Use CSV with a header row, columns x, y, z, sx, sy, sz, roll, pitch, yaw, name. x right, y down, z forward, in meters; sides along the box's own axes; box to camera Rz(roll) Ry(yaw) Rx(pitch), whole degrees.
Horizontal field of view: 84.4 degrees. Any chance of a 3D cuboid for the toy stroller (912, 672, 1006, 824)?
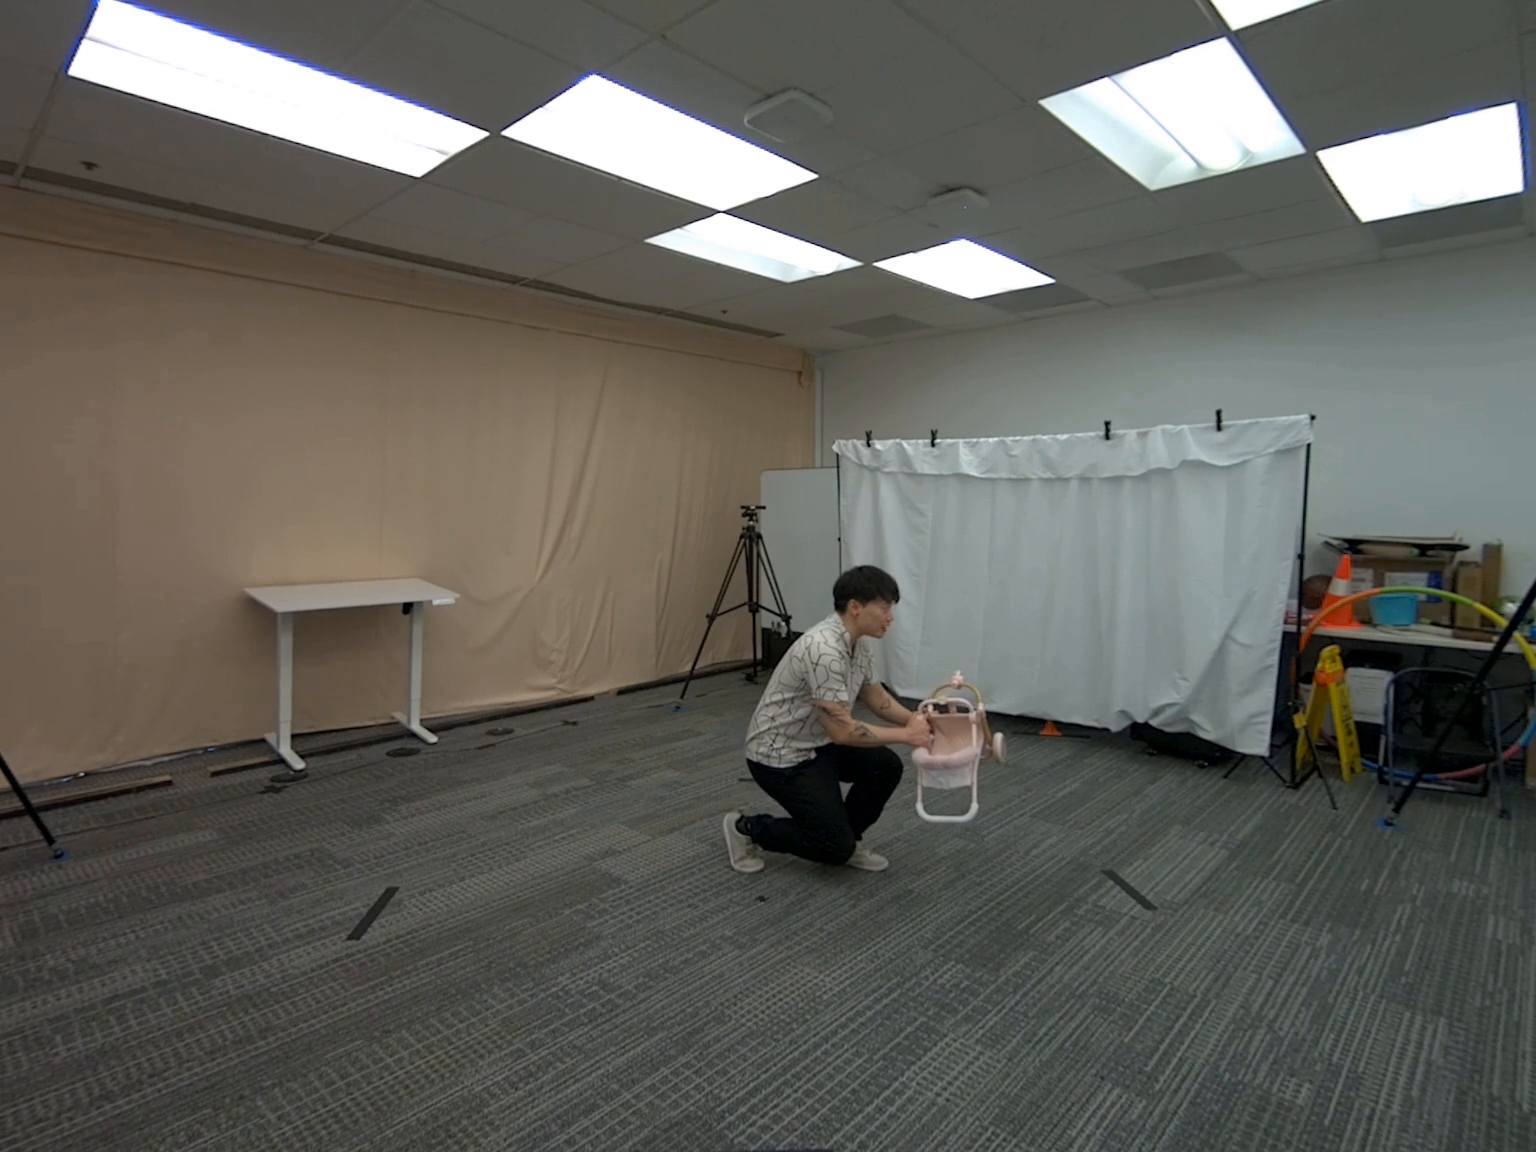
x,y,z,sx,sy,sz,roll,pitch,yaw,name
0.666,0.586,2.982,0.289,0.337,0.527,-3,16,26,toy stroller
